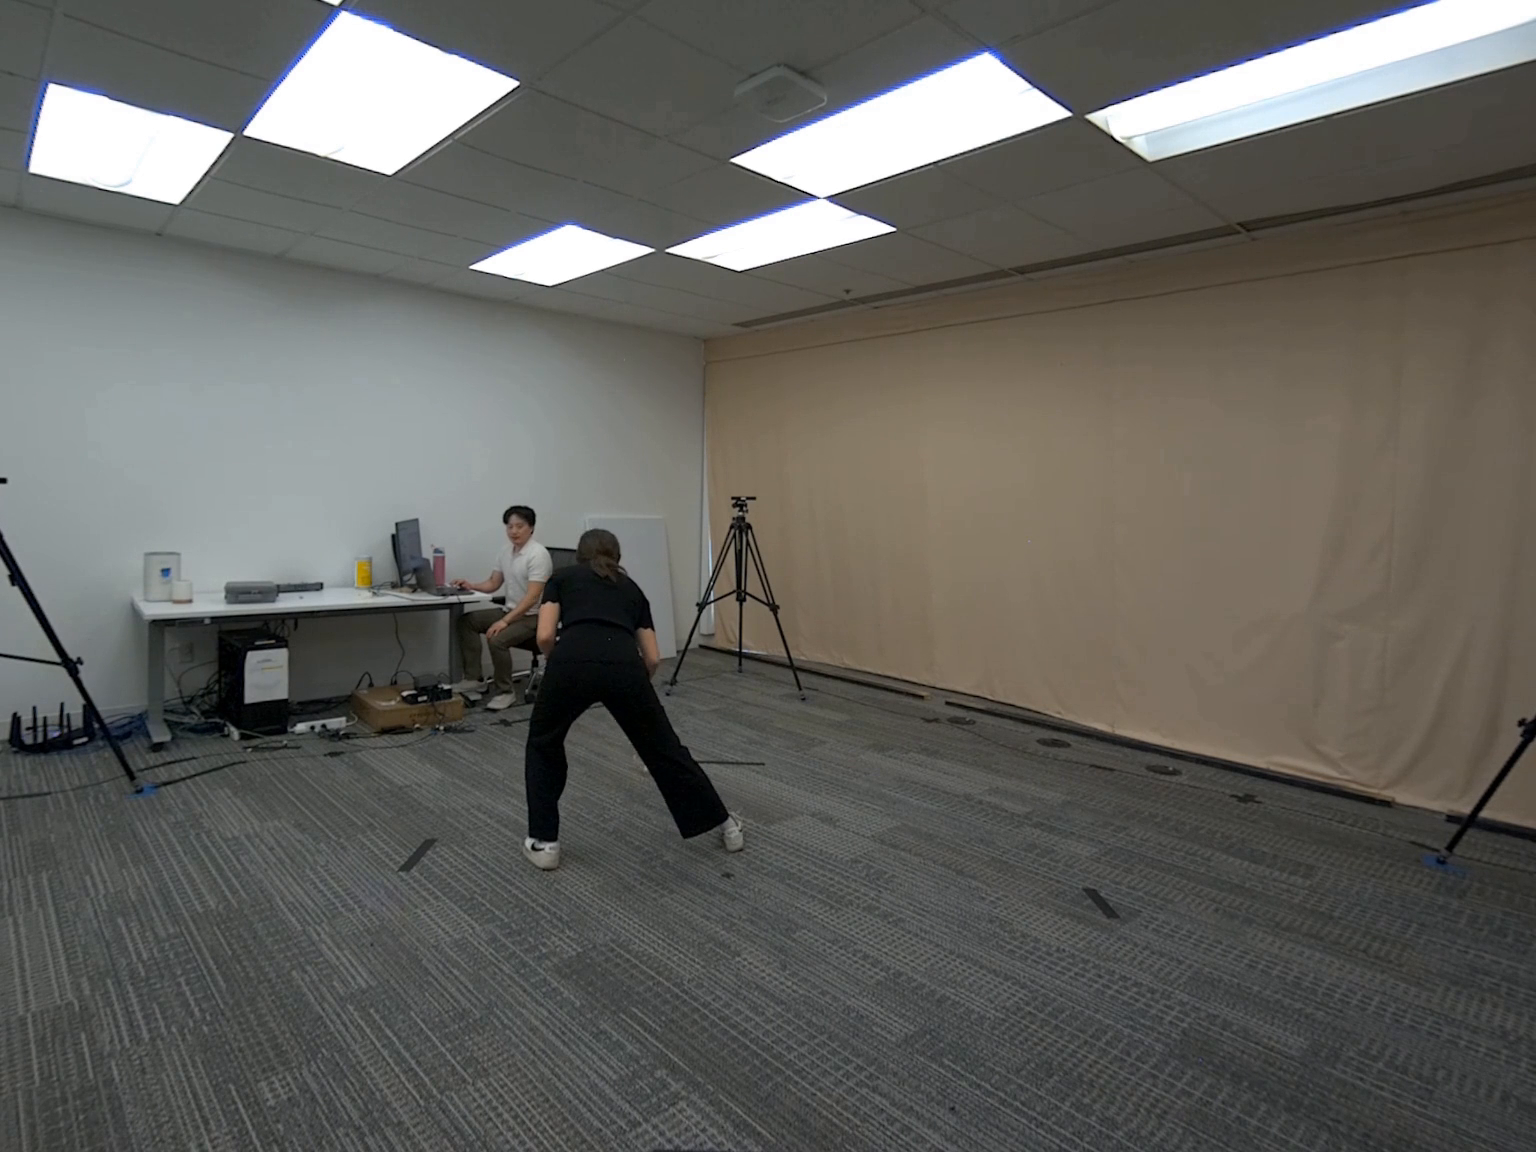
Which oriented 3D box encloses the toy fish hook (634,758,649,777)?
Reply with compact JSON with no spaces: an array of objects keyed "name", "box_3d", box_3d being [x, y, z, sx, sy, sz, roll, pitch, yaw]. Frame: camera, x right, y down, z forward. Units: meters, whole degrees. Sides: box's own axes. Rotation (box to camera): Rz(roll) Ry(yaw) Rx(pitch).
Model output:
[{"name":"toy fish hook","box_3d":[-0.562,0.639,3.492,0.048,0.493,0.229,-12,38,7]}]
